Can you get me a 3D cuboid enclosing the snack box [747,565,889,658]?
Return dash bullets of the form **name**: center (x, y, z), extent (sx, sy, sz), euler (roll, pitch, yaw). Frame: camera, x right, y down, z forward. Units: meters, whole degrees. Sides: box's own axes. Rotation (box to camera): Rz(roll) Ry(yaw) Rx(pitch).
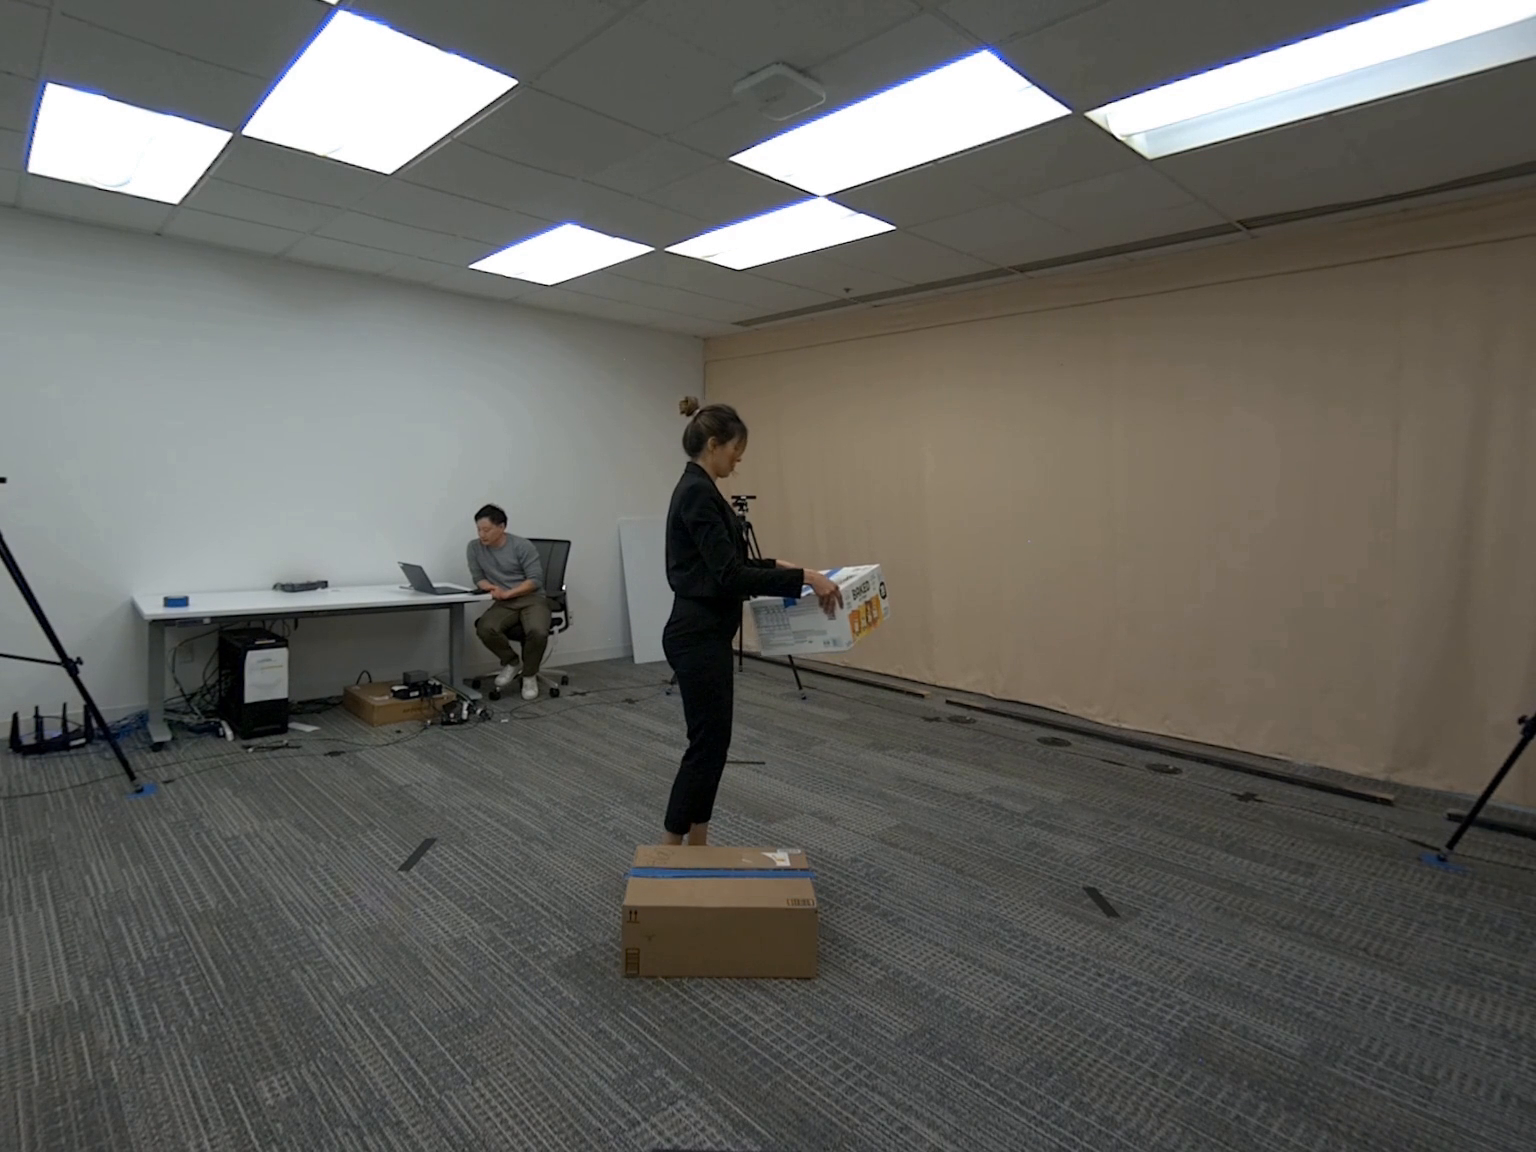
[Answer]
- **snack box**: center (0.186, 0.119, 3.022), extent (0.347, 0.204, 0.400), euler (-7, 10, 32)
